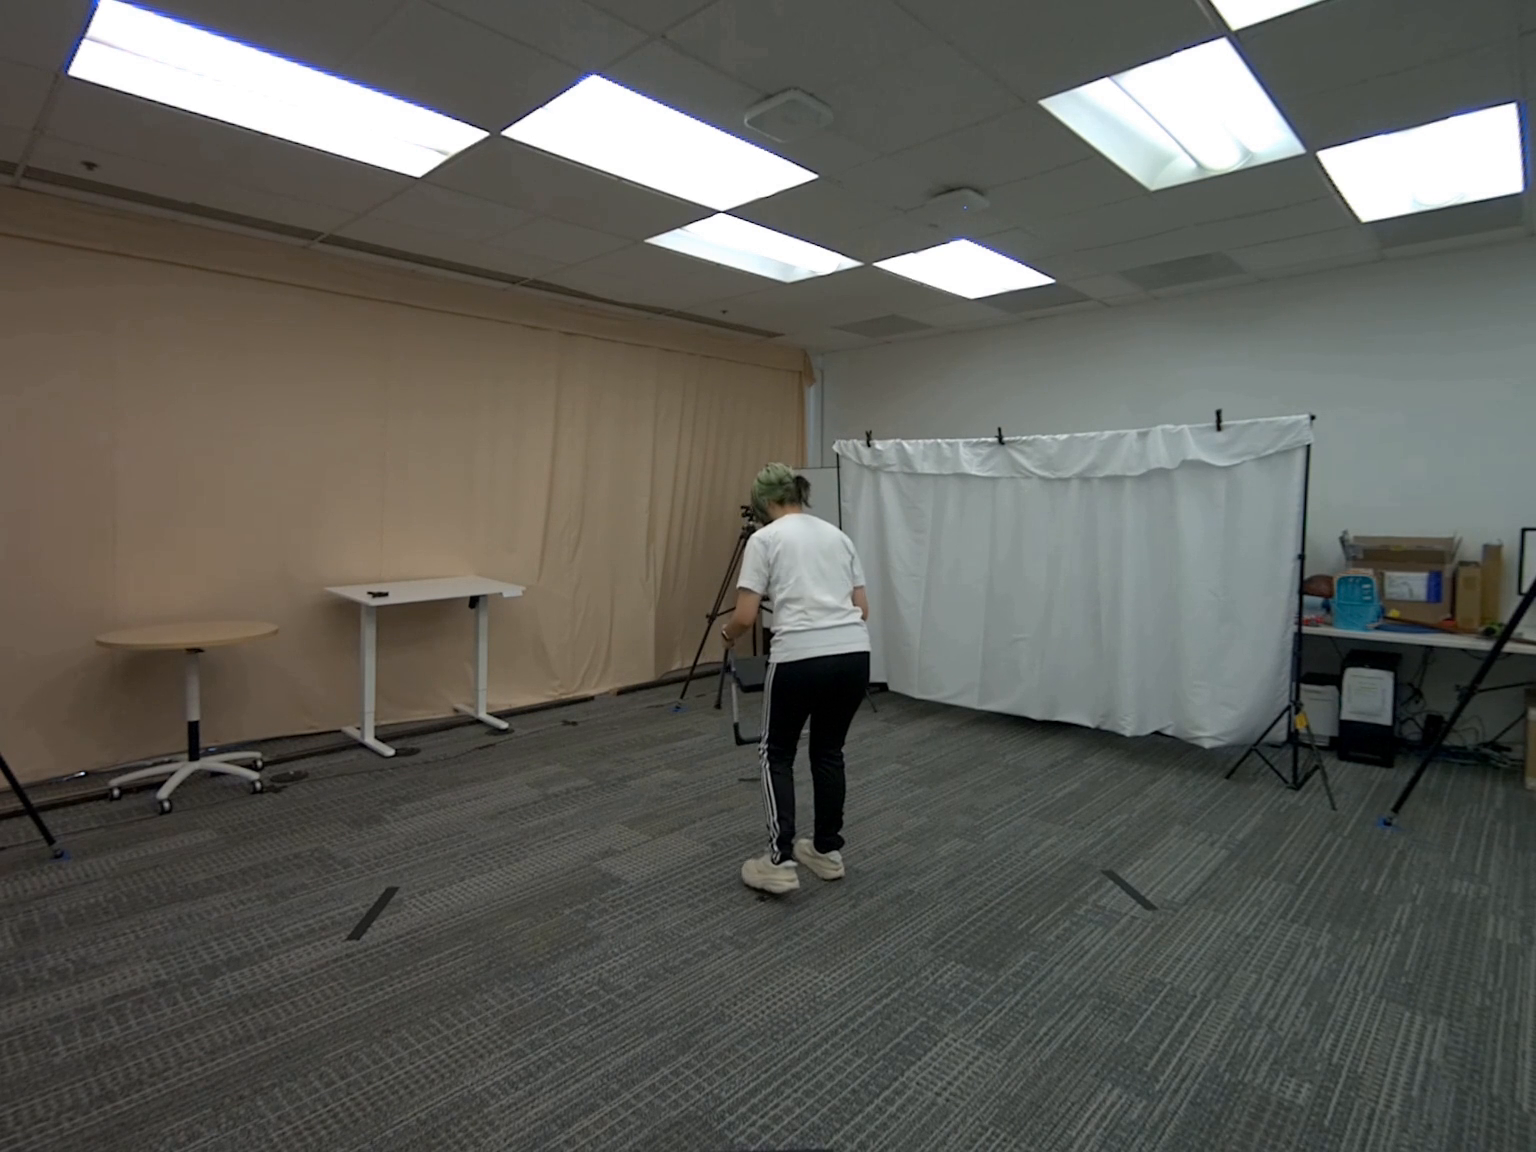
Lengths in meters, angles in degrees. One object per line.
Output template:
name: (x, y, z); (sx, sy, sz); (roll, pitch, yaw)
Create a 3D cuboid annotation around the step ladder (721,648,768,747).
step ladder: (0.020, 0.333, 3.479); (0.424, 0.599, 0.359); (-5, 21, -16)
